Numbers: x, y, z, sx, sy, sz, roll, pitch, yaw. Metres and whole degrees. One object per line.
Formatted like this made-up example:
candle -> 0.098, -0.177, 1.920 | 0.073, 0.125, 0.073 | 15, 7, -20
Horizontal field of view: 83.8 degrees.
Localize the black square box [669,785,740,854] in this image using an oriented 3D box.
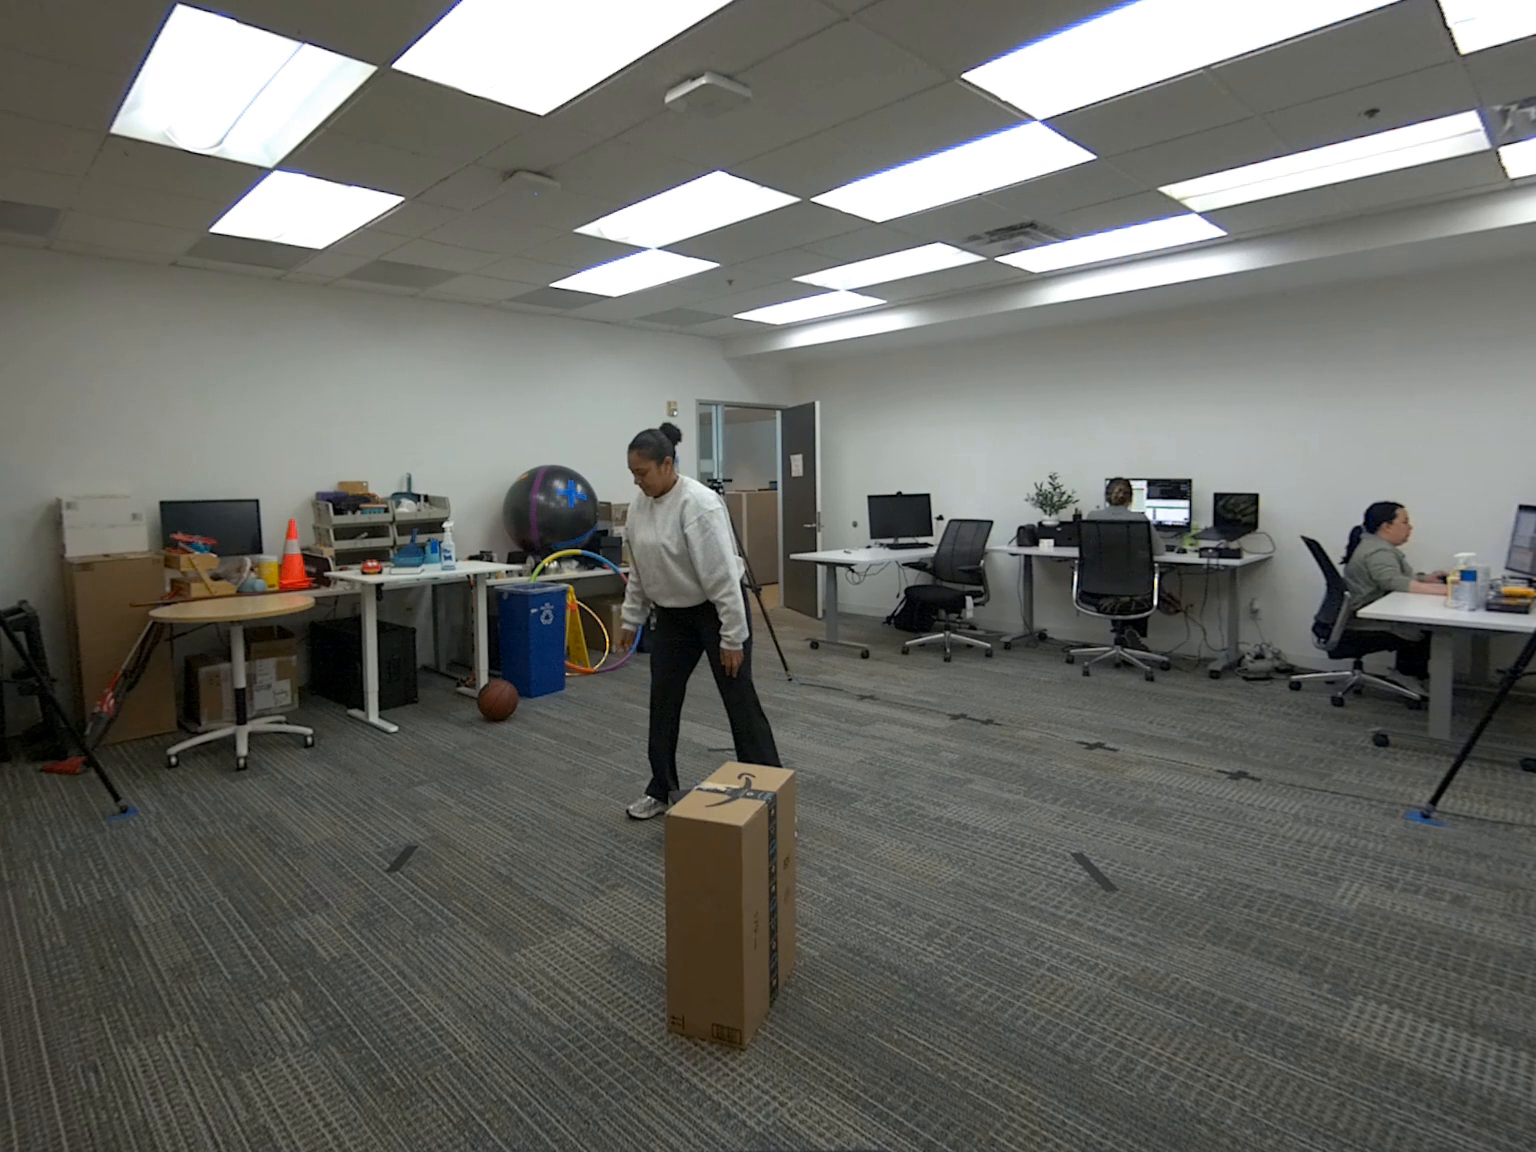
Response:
black square box -> -0.251, 0.939, 3.331 | 0.213, 0.155, 0.232 | -3, 6, -18
